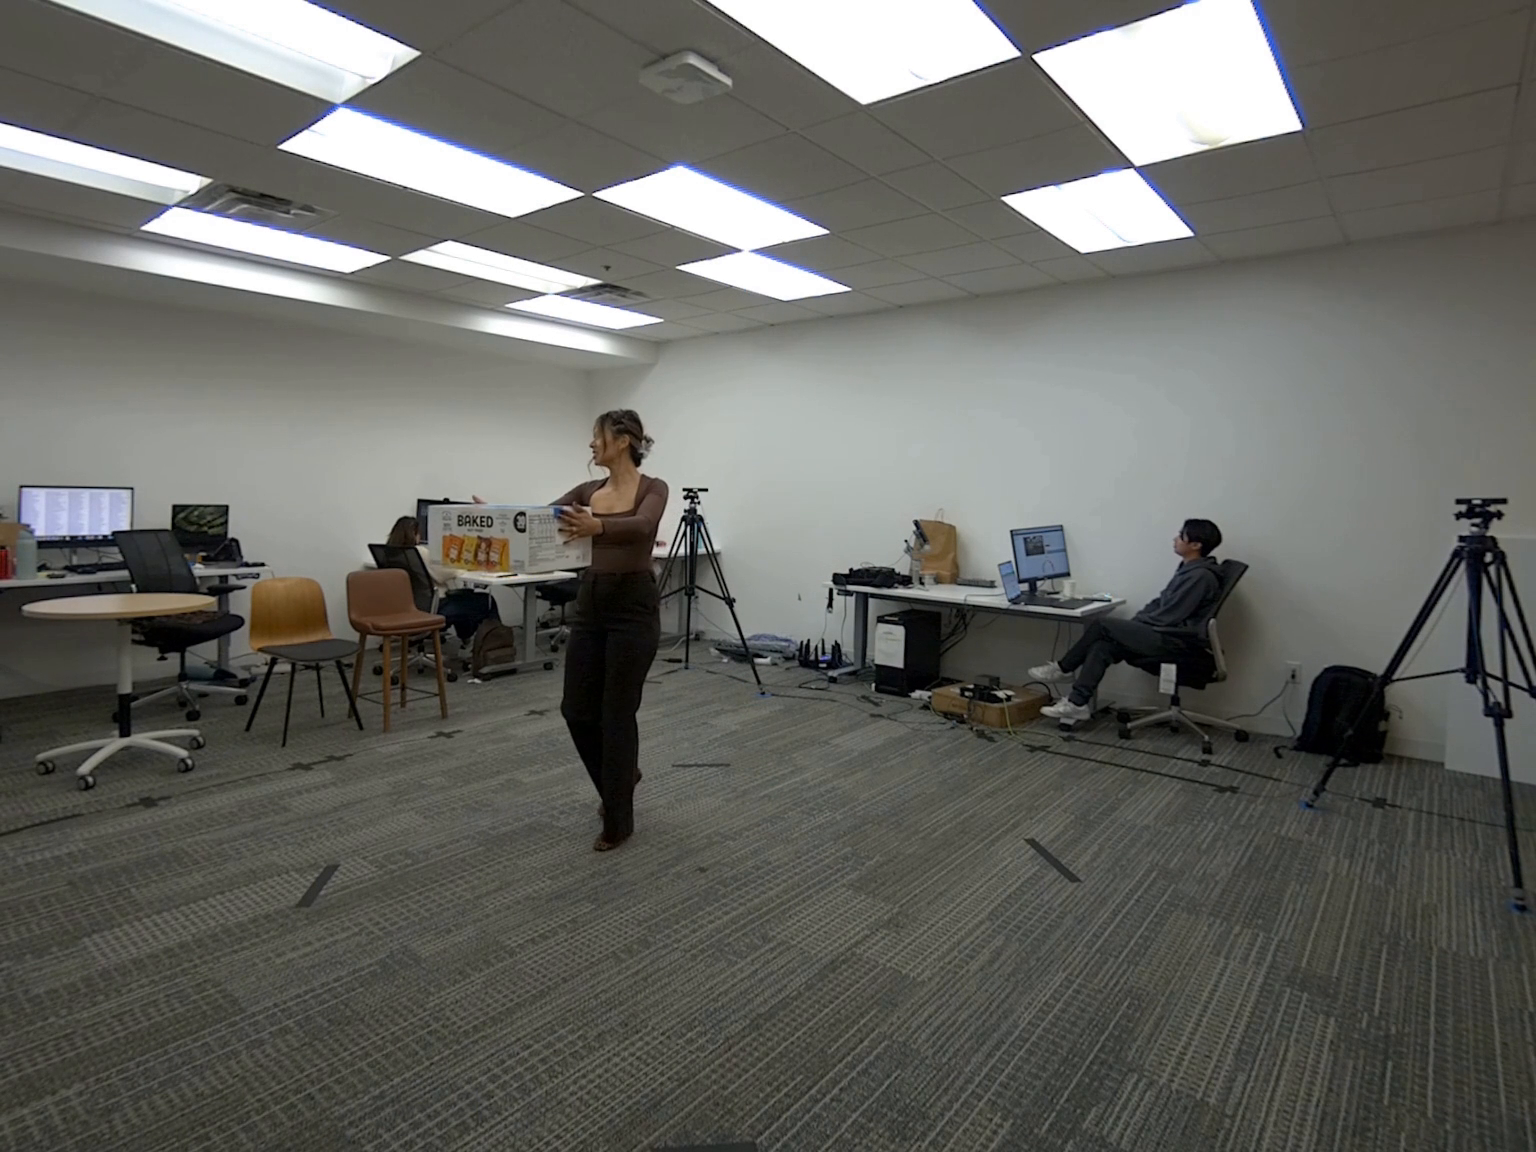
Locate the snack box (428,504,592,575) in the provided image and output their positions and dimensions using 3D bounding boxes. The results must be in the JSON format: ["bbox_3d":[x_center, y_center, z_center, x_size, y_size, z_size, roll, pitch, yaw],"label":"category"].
[{"bbox_3d":[-0.865,-0.129,2.820,0.416,0.205,0.333,4,6,25],"label":"snack box"}]
